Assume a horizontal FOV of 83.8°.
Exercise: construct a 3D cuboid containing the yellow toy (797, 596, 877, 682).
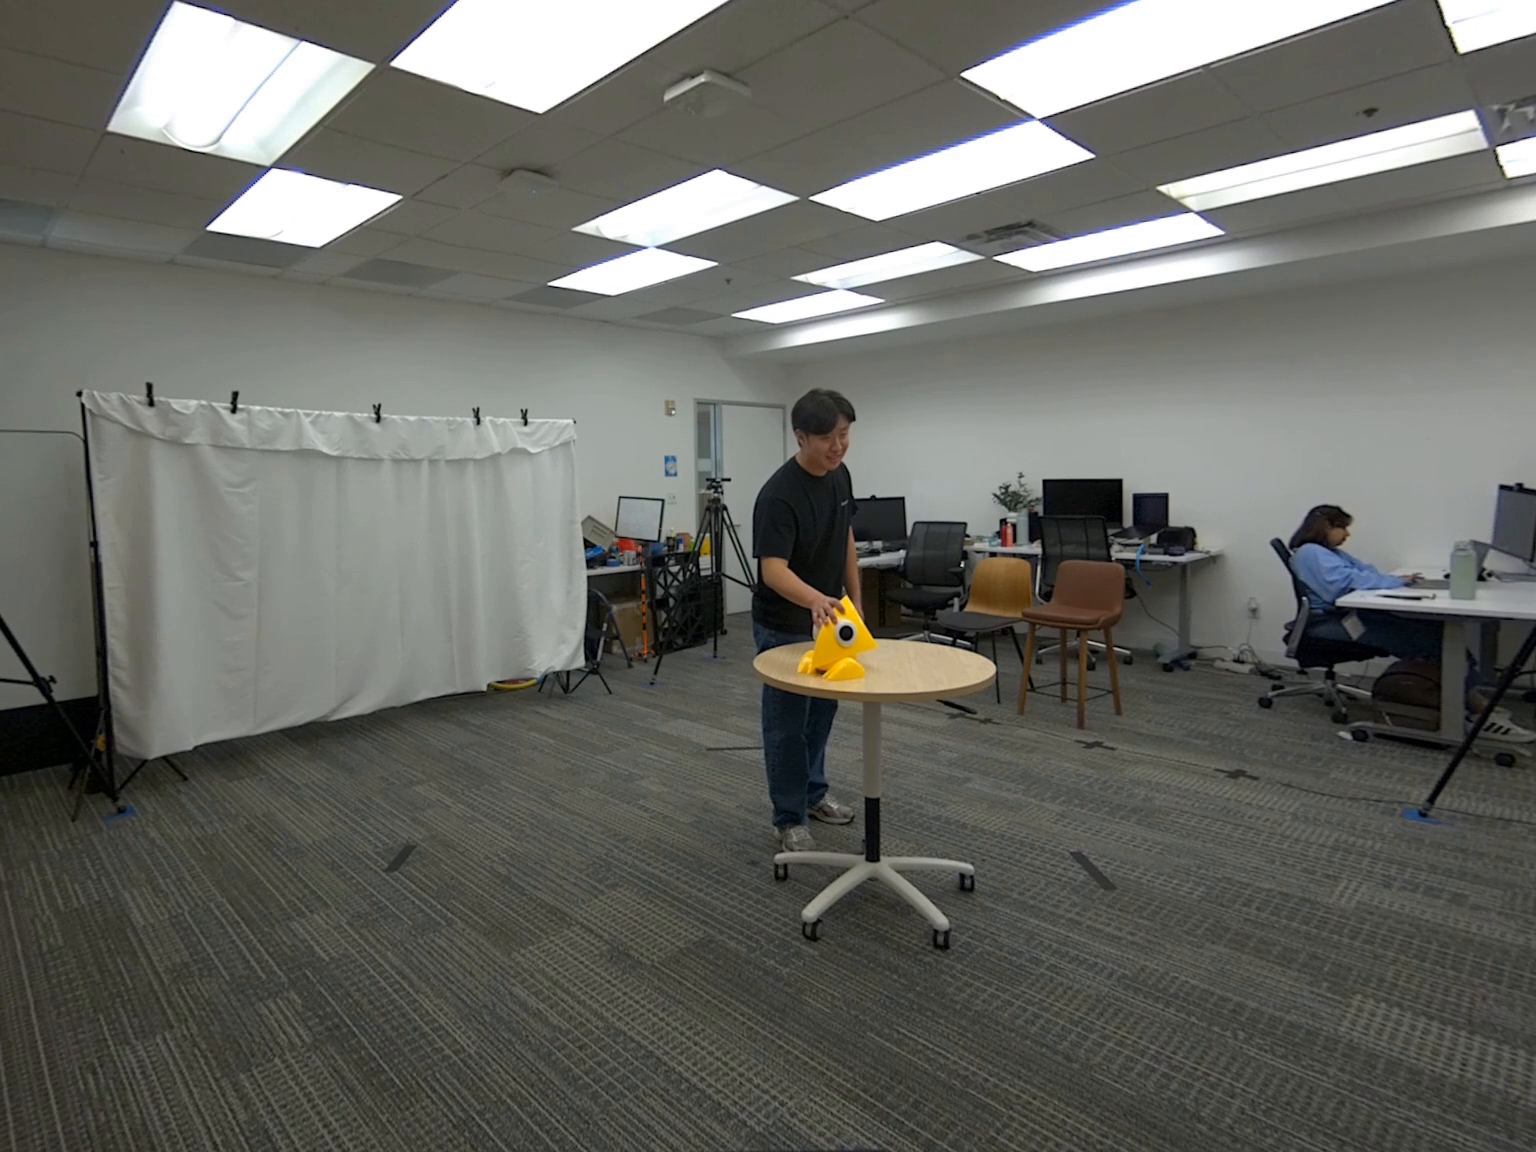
[{"bbox_3d":[0.205,0.187,2.626,0.188,0.230,0.211,-4,7,-41],"label":"yellow toy"}]
